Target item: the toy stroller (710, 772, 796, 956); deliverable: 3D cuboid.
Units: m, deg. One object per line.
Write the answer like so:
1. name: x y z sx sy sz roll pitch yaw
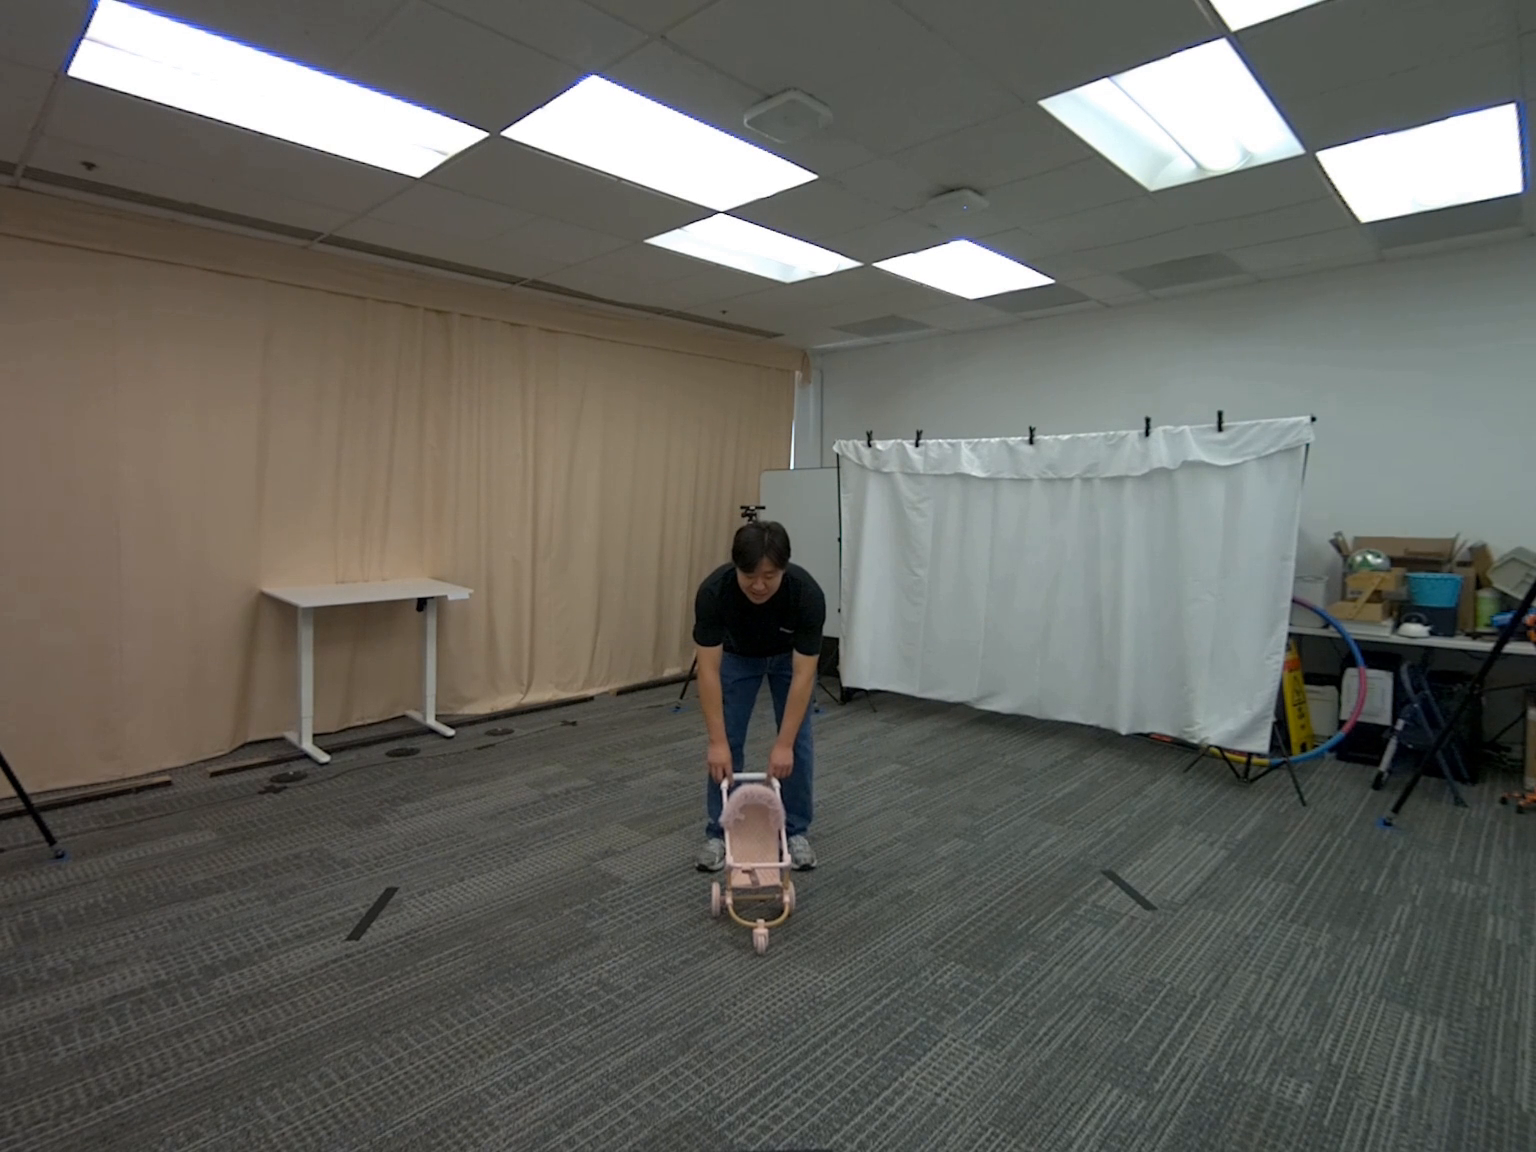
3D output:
1. toy stroller: -0.038 0.938 2.791 0.281 0.539 0.339 1 -12 -2
